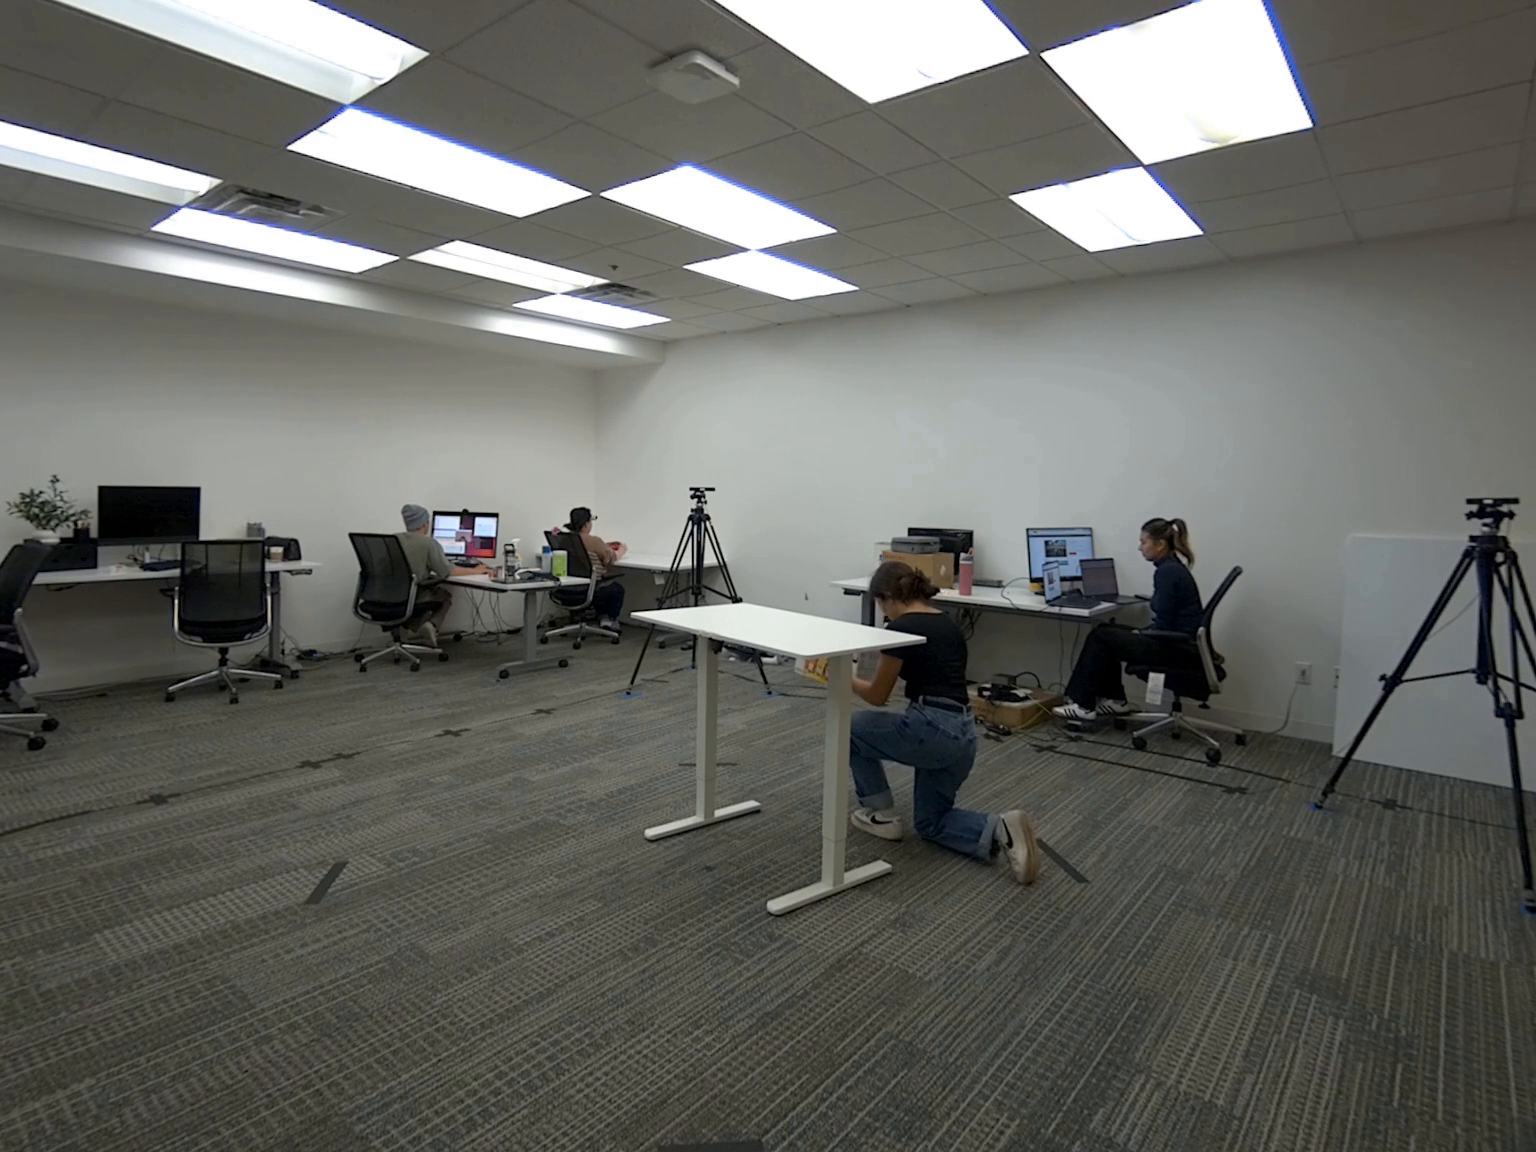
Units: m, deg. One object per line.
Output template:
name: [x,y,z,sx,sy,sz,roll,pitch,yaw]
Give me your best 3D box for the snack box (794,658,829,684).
snack box: [0.379,0.375,3.787,0.329,0.205,0.419,6,3,-35]
